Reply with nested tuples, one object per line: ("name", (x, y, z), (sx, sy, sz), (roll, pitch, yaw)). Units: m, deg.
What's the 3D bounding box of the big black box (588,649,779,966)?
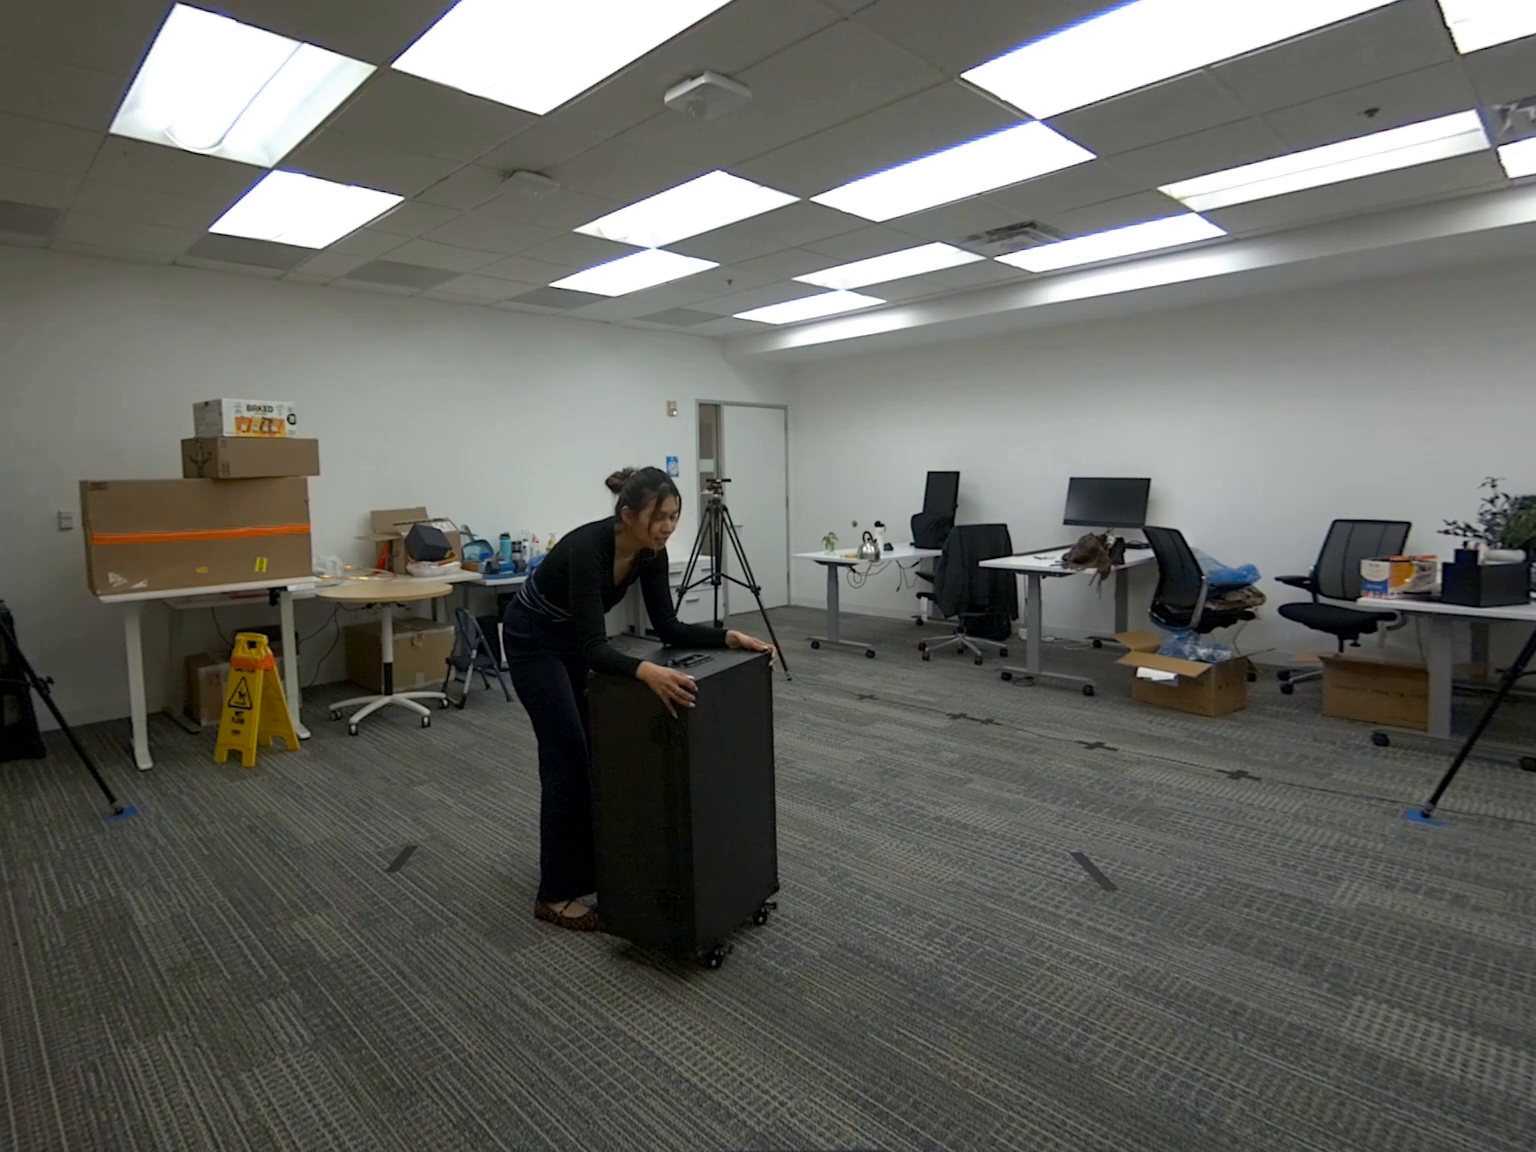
("big black box", (-0.252, 0.685, 2.612), (0.406, 0.859, 0.510), (-1, 4, 30))
